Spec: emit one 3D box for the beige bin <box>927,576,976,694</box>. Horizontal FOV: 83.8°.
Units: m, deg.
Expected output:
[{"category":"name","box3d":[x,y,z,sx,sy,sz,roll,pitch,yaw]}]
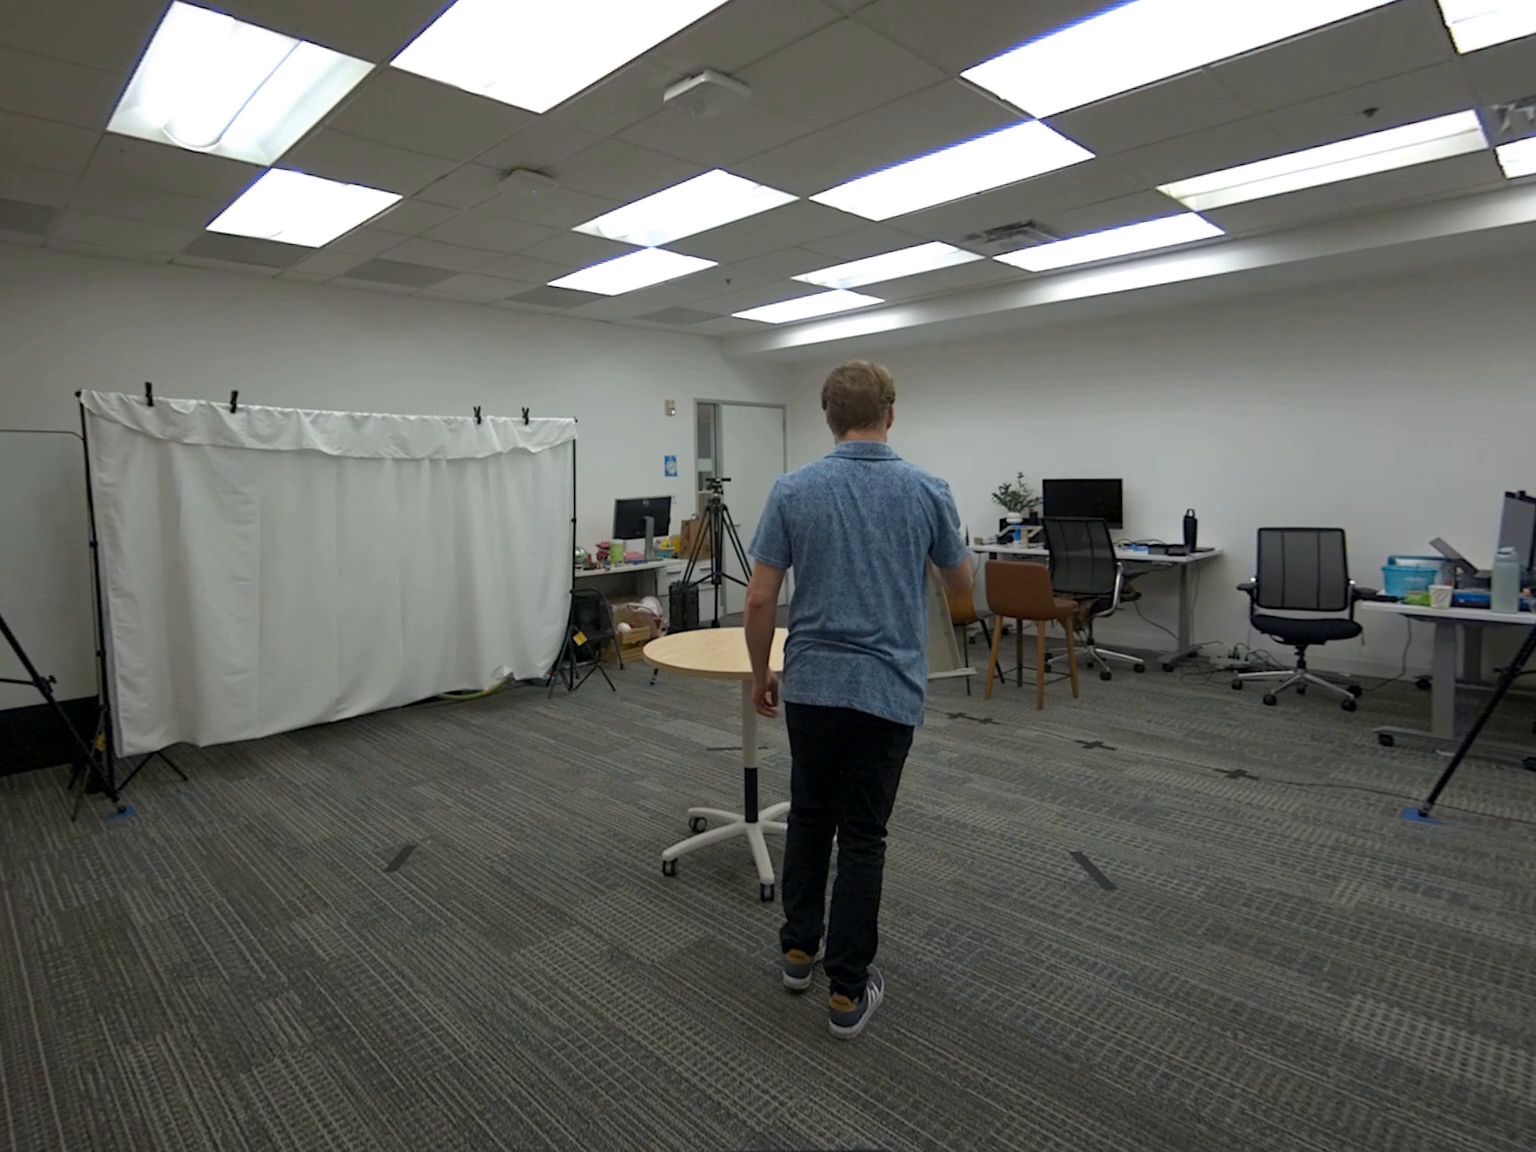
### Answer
[{"category":"beige bin","box3d":[0.439,0.114,2.596,0.368,0.429,0.191,-1,-17,-32]}]
